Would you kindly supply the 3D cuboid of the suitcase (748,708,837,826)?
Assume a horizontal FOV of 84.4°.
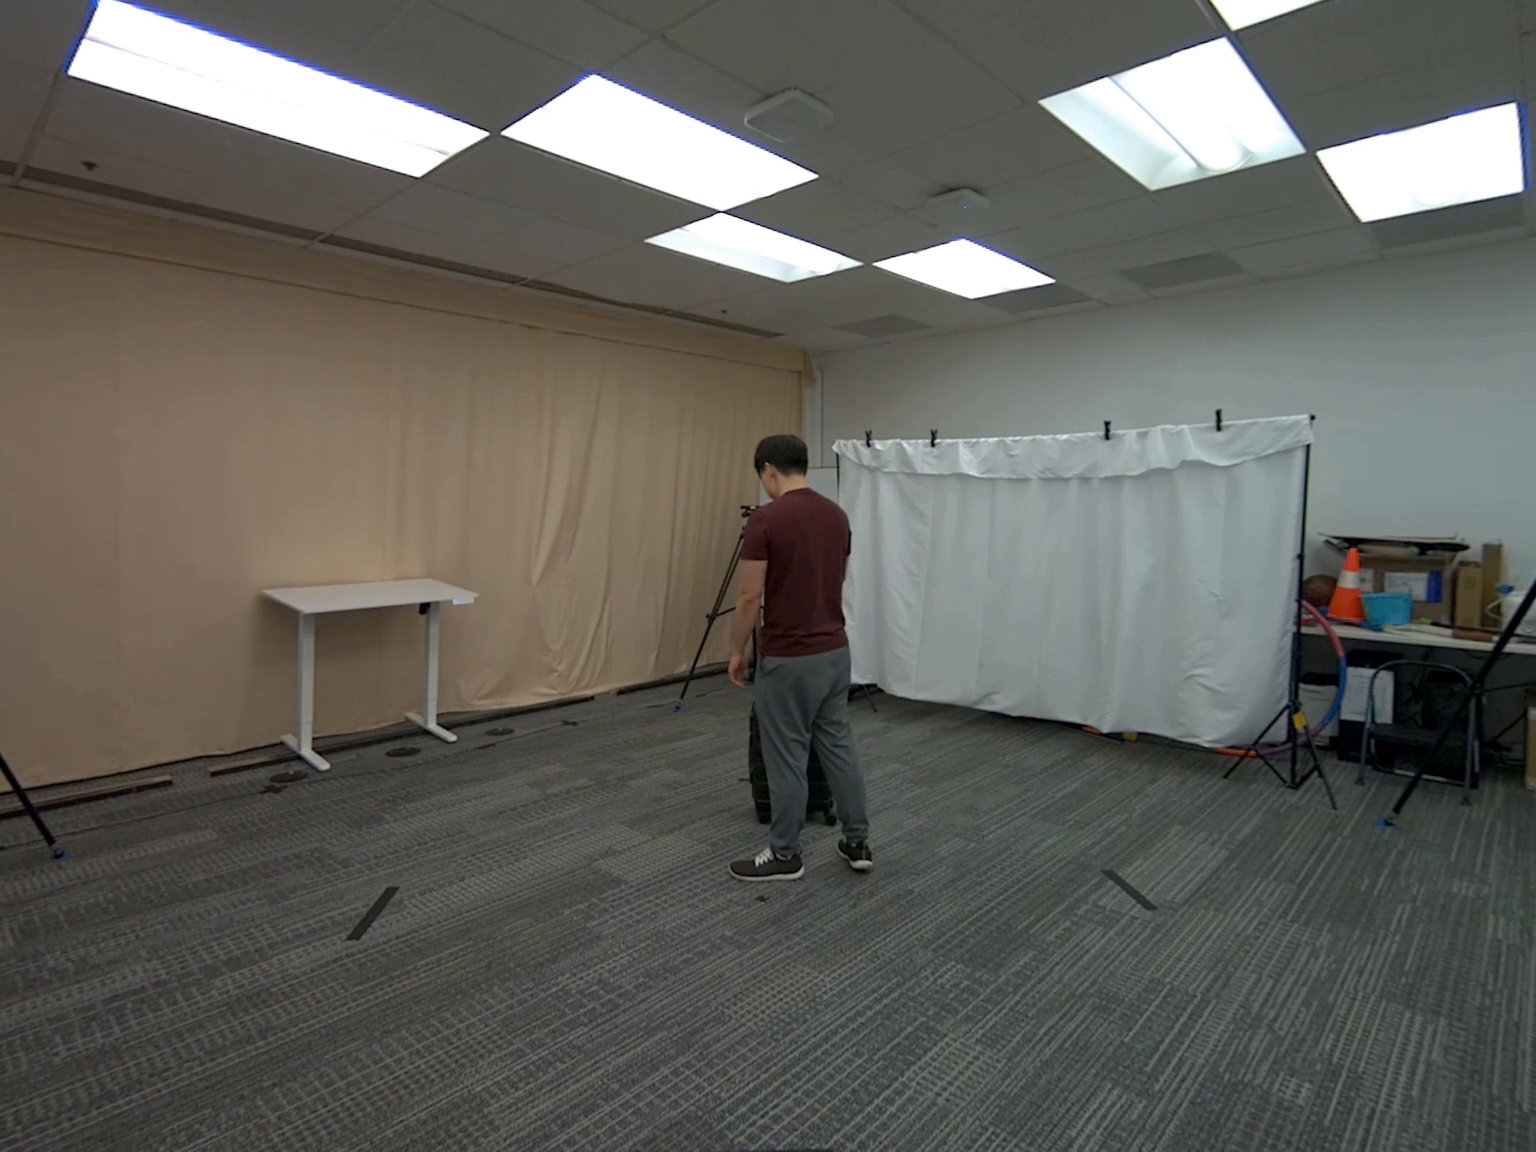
[{"bbox_3d":[0.105,0.598,3.774,0.385,0.978,0.256,-1,0,3],"label":"suitcase"}]
